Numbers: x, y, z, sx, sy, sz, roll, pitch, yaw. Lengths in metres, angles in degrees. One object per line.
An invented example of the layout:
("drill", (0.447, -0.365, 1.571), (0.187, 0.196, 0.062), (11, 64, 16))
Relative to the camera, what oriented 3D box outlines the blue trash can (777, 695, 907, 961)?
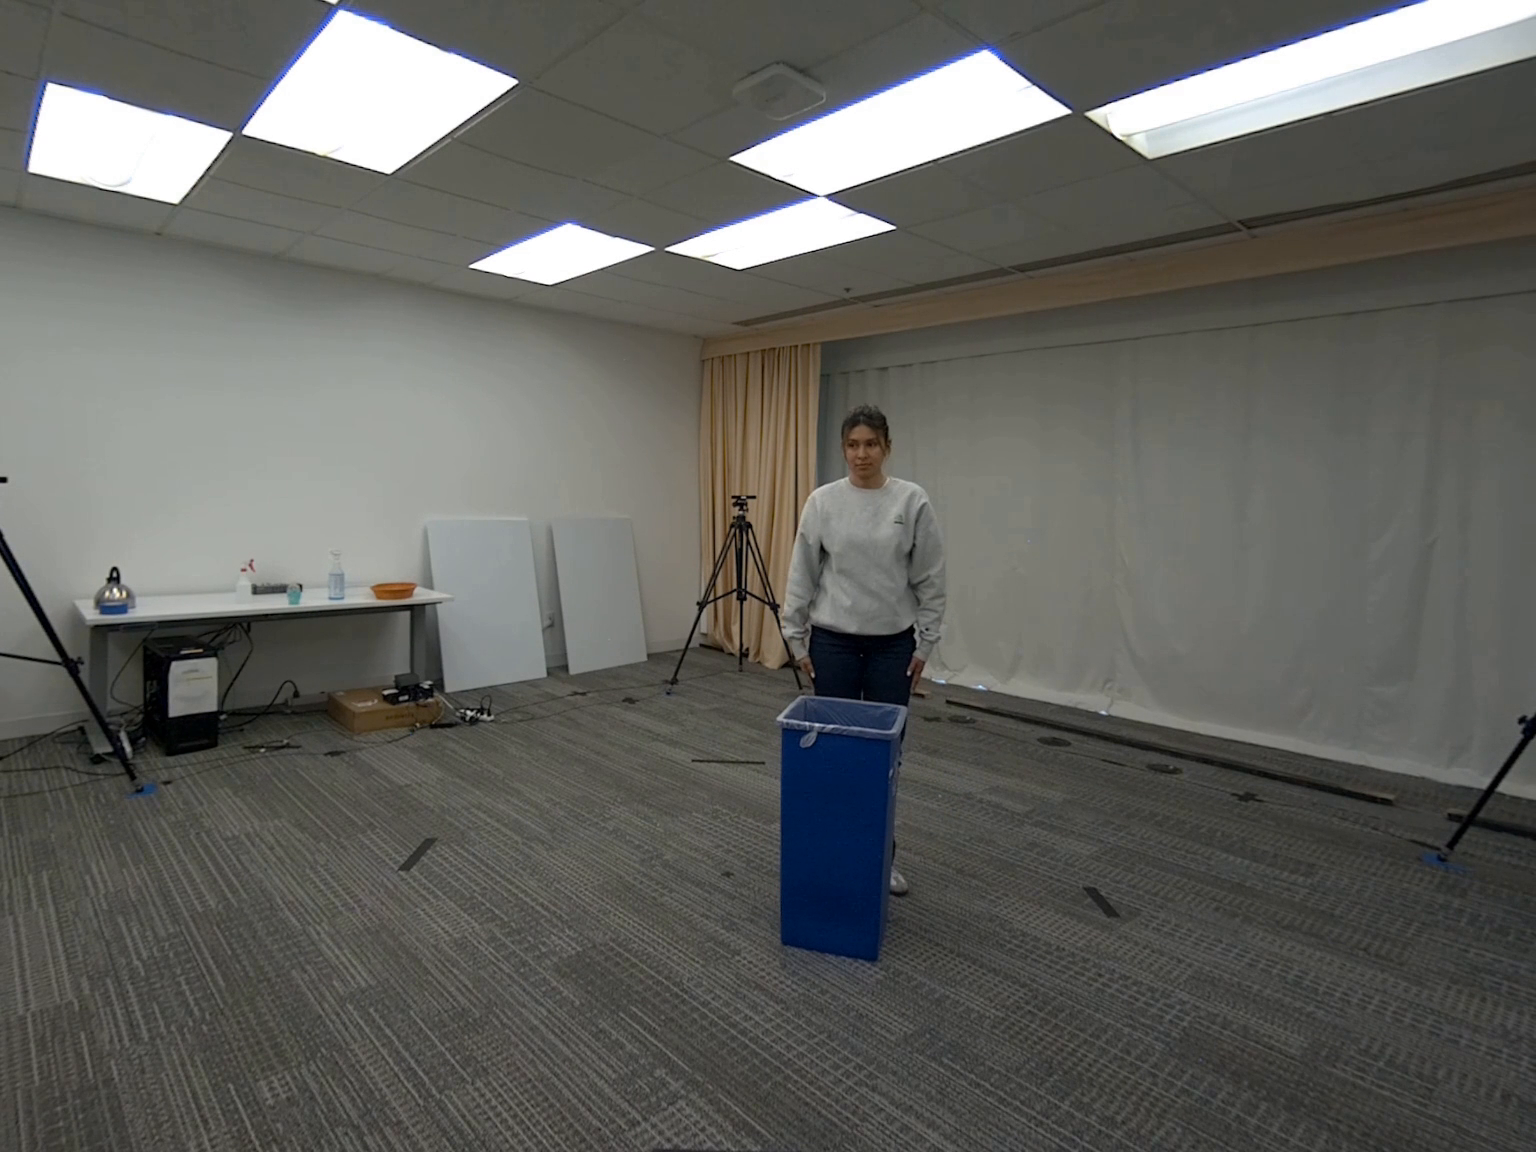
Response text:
("blue trash can", (0.223, 0.790, 2.706), (0.383, 0.712, 0.370), (3, 4, 17))
